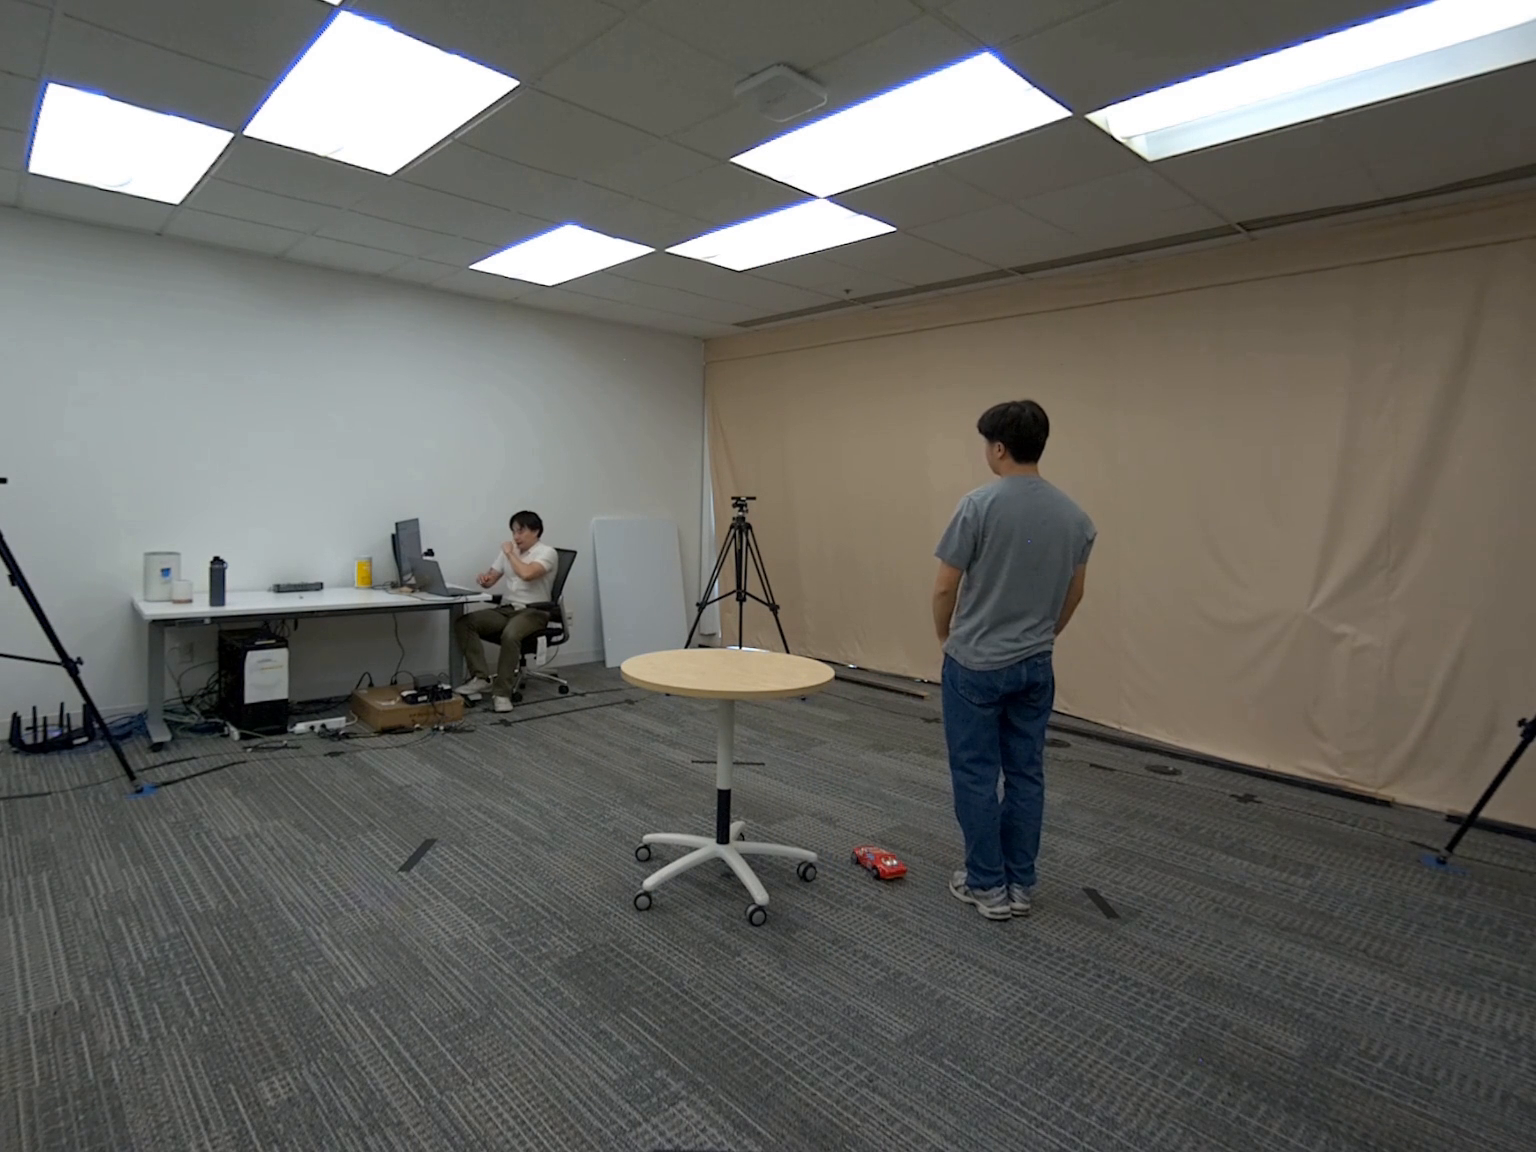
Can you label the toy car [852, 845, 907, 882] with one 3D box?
[{"bbox_3d":[0.417,1.083,3.168,0.128,0.083,0.258,0,-6,-25],"label":"toy car"}]
